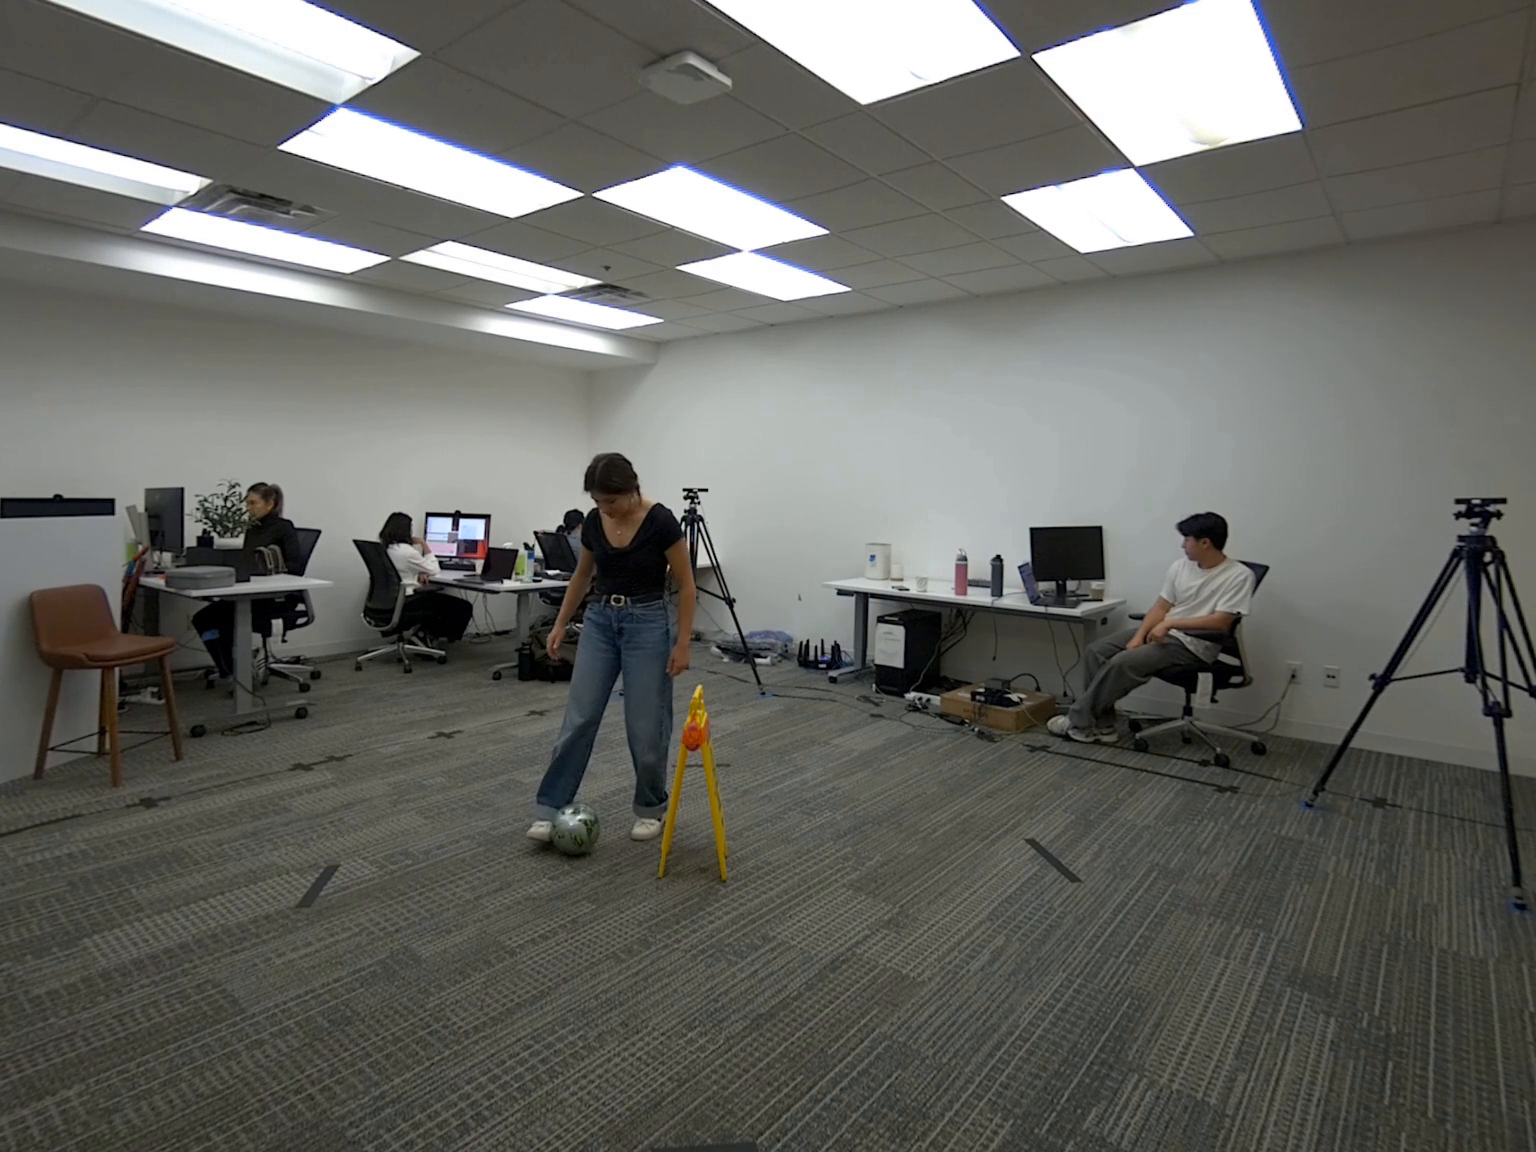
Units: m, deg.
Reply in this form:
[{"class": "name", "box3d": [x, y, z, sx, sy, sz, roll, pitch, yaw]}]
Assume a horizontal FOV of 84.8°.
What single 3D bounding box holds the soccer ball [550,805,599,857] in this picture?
[{"class": "soccer ball", "box3d": [-0.724, 0.957, 3.233, 0.187, 0.187, 0.188, 1, 4, -2]}]
